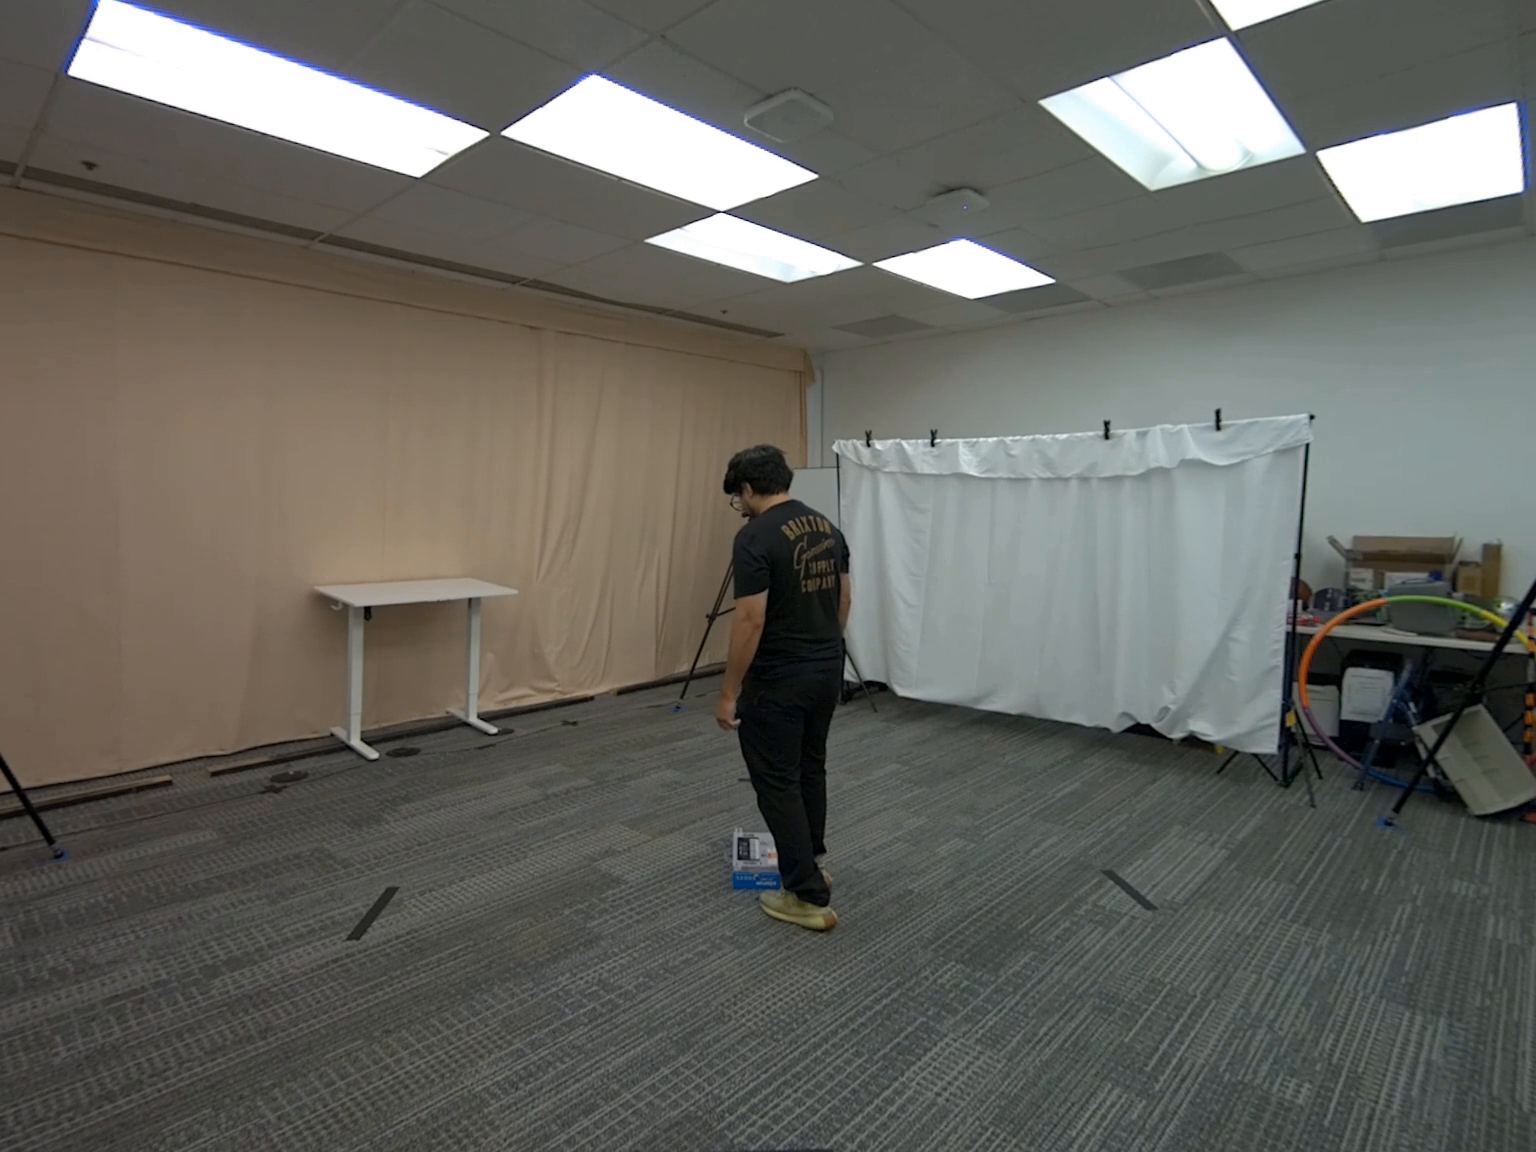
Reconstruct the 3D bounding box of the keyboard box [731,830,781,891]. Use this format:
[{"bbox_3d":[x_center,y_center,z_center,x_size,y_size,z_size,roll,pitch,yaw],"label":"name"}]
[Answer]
[{"bbox_3d":[-0.048,1.089,3.273,0.176,0.059,0.438,0,5,-1],"label":"keyboard box"}]
